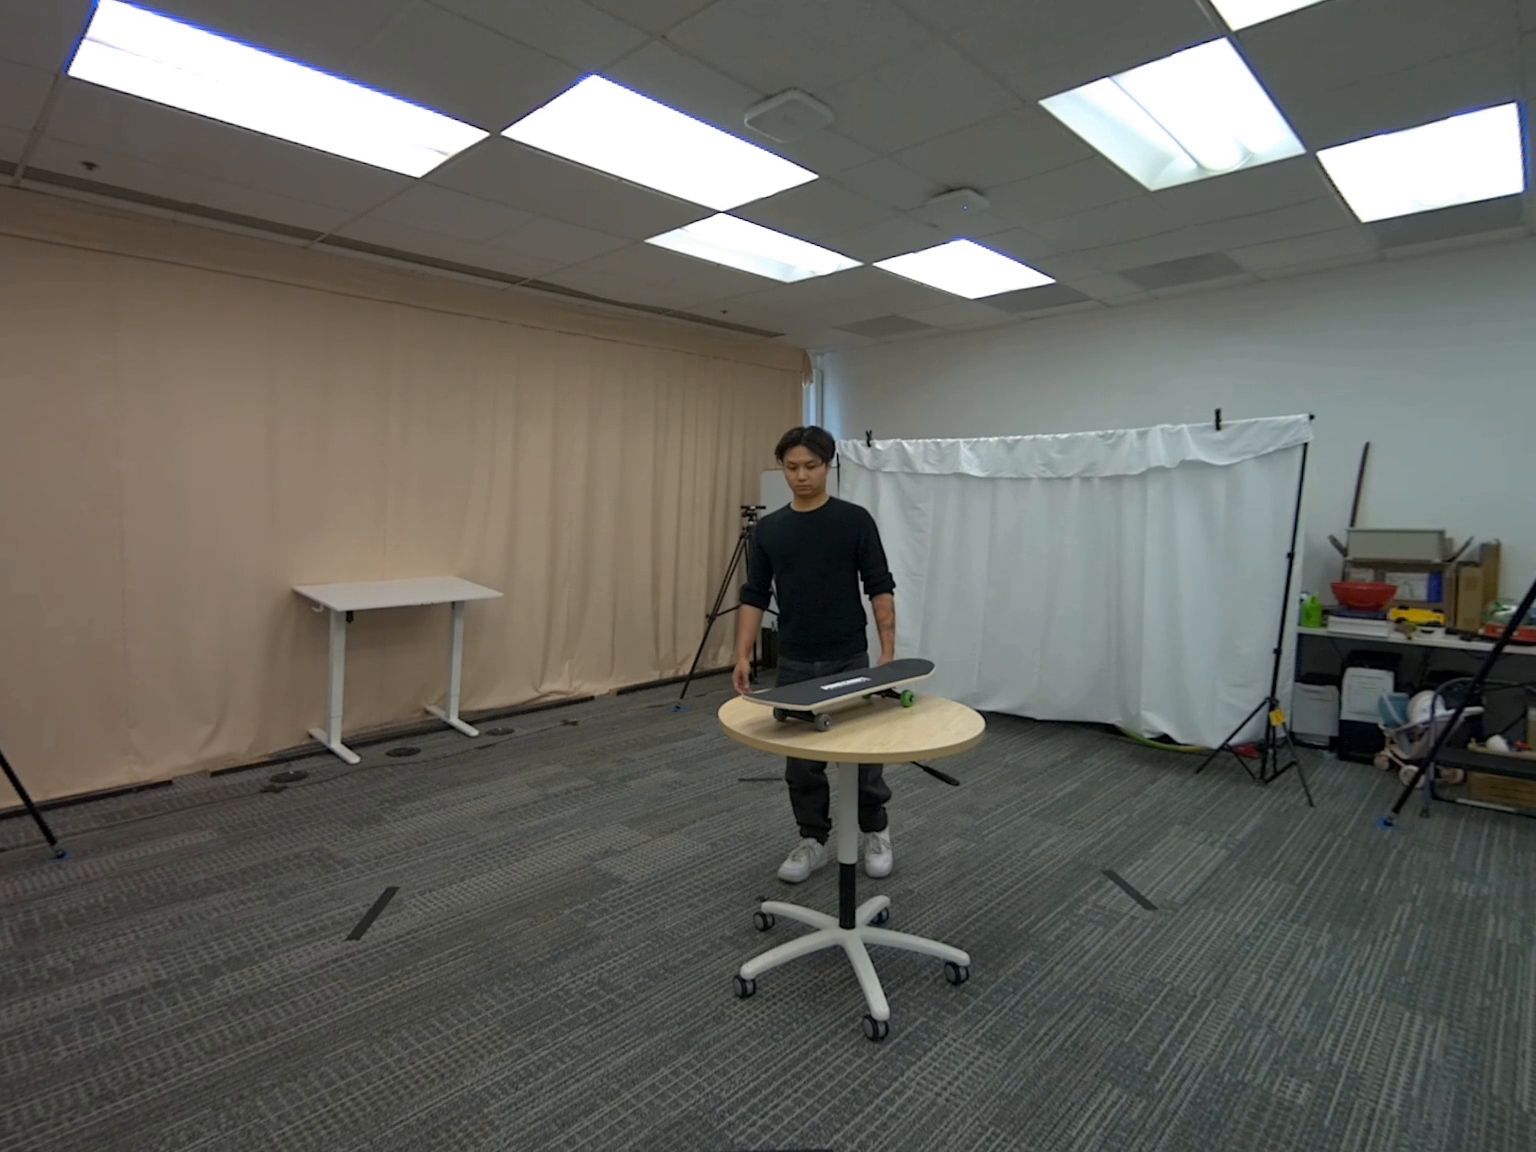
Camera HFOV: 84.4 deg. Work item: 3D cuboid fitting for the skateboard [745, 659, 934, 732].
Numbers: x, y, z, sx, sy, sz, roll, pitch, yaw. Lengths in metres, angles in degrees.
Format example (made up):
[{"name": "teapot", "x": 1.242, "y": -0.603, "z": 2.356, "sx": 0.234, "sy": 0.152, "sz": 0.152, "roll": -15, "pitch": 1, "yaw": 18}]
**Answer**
[{"name": "skateboard", "x": 0.228, "y": 0.353, "z": 2.472, "sx": 0.200, "sy": 0.110, "sz": 0.762, "roll": 5, "pitch": 8, "yaw": 44}]
